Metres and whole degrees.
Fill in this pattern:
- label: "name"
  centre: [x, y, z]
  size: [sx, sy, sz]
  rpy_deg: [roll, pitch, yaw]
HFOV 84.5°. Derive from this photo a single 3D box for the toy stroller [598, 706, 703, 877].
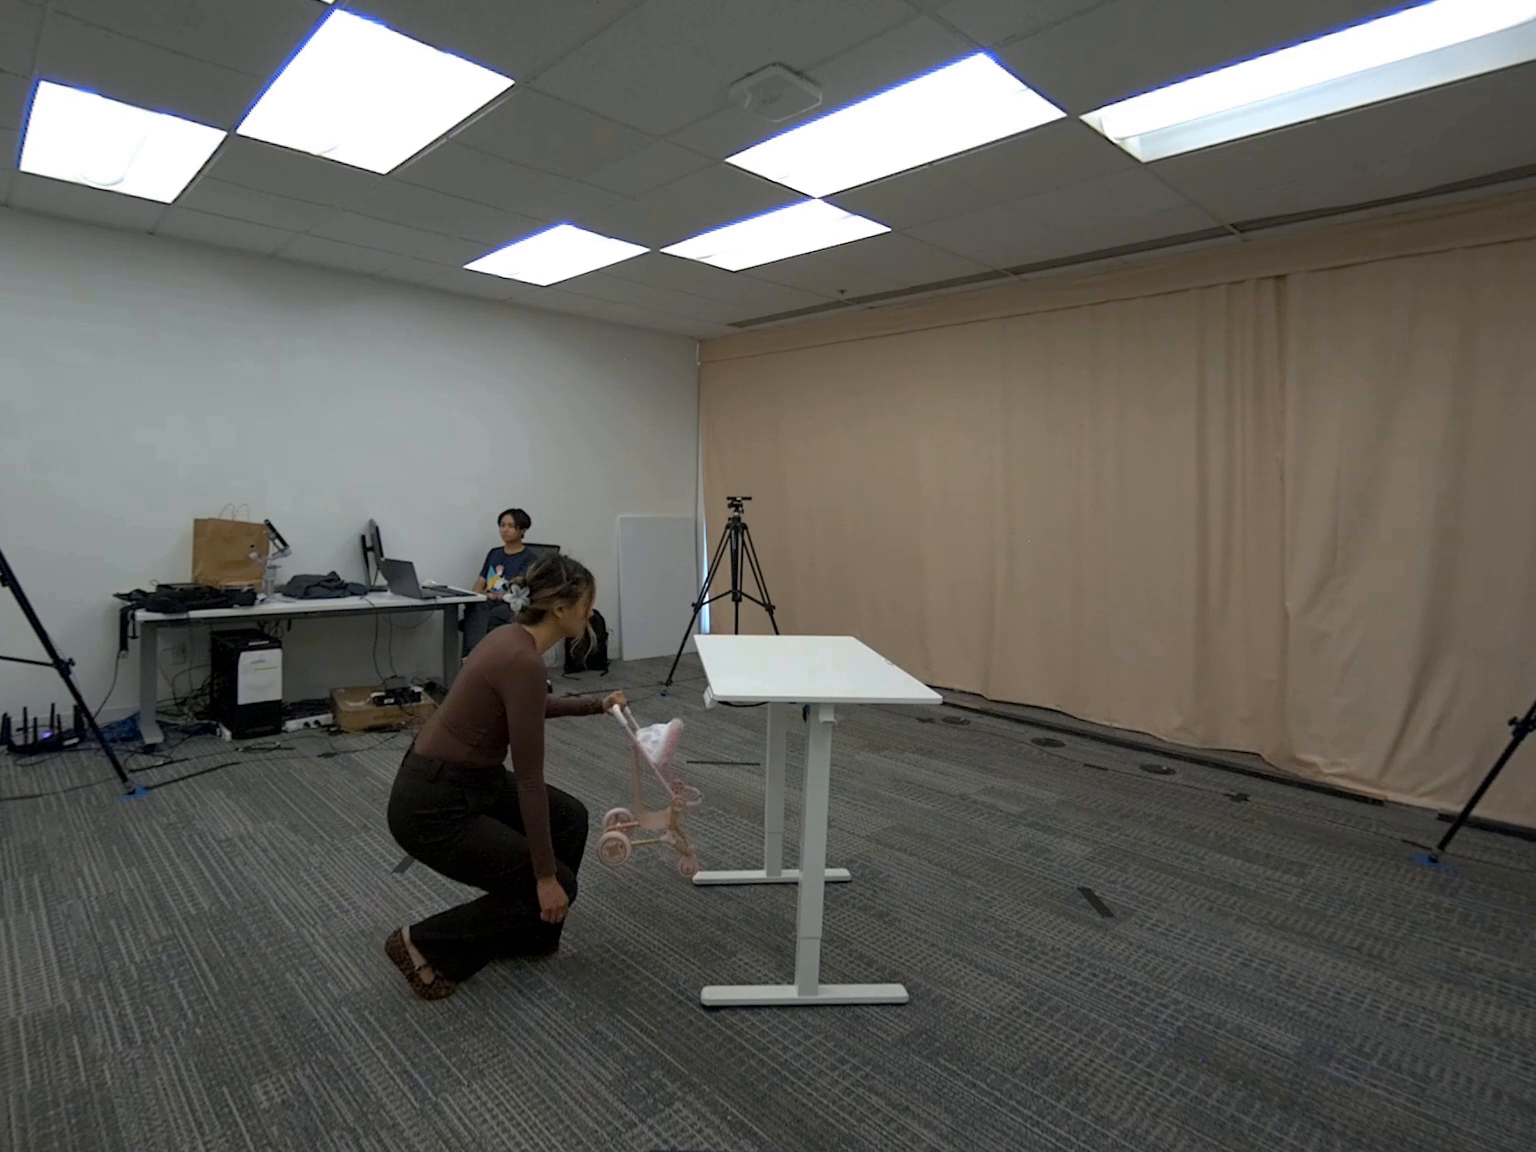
- label: "toy stroller"
  centre: [-0.368, 0.701, 2.725]
  size: [0.341, 0.536, 0.281]
  rpy_deg: [5, -2, -1]
